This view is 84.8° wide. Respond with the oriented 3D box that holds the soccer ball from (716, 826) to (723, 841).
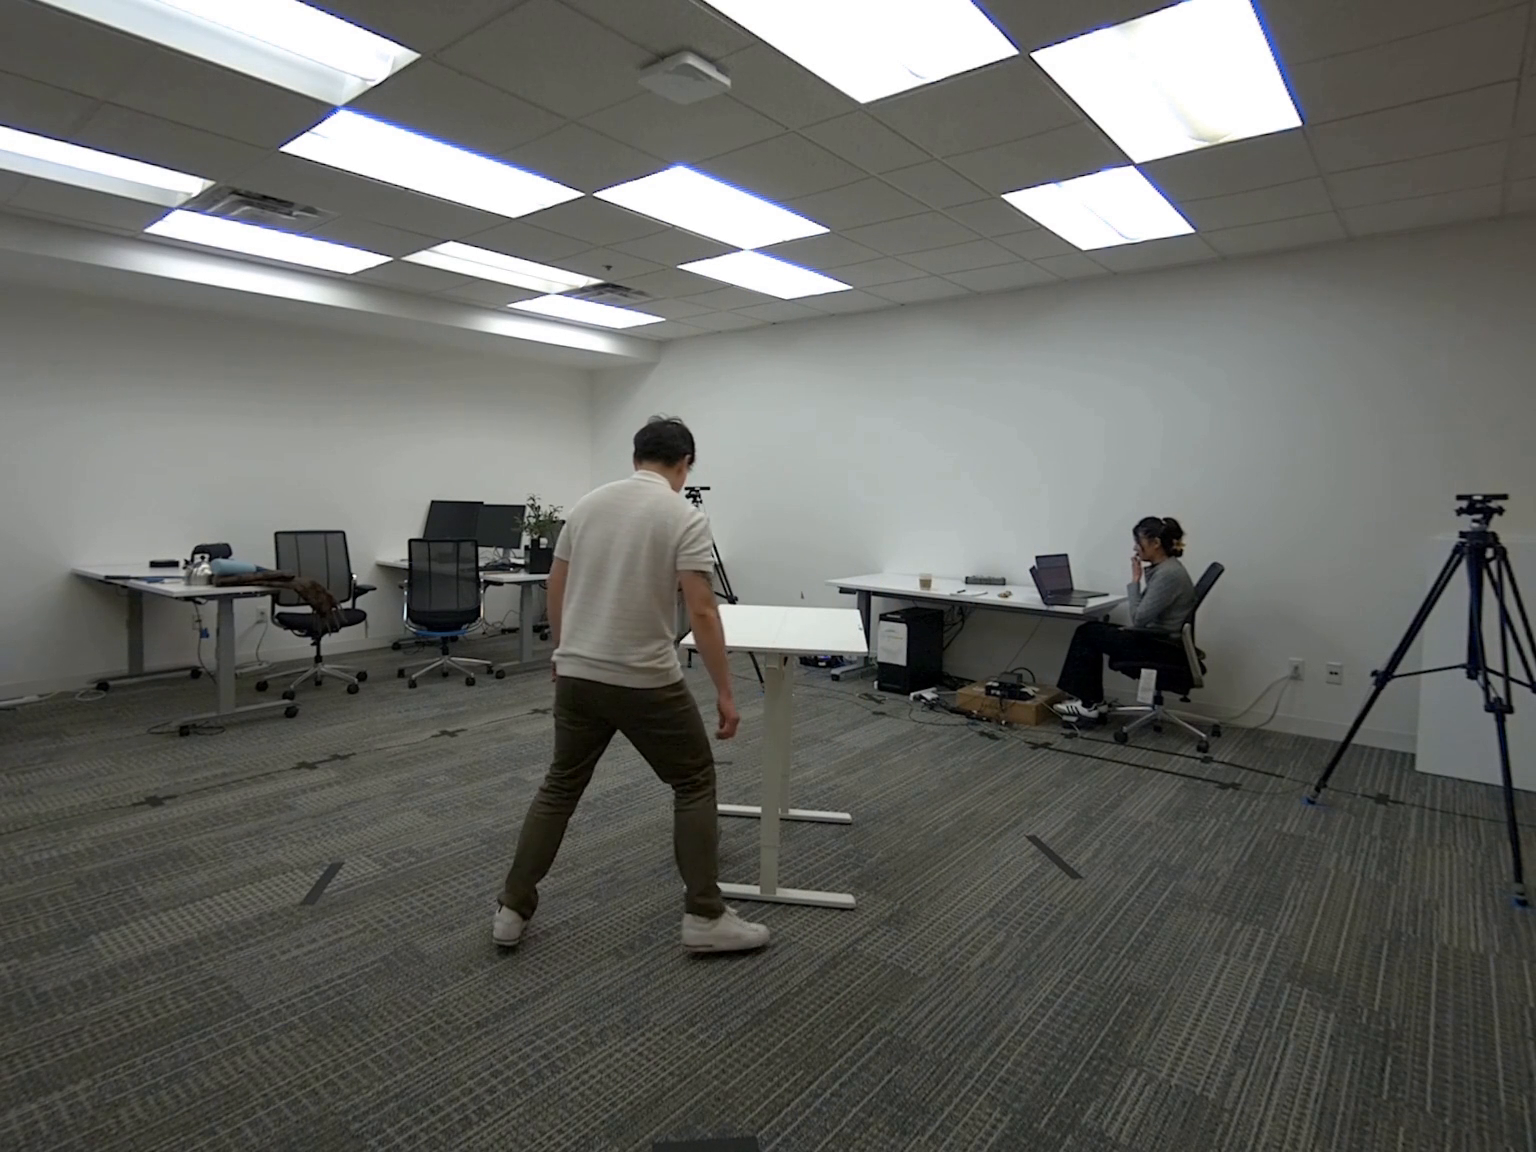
[{"bbox_3d":[-0.270,0.954,3.201,0.187,0.187,0.188,1,4,-2],"label":"soccer ball"}]
